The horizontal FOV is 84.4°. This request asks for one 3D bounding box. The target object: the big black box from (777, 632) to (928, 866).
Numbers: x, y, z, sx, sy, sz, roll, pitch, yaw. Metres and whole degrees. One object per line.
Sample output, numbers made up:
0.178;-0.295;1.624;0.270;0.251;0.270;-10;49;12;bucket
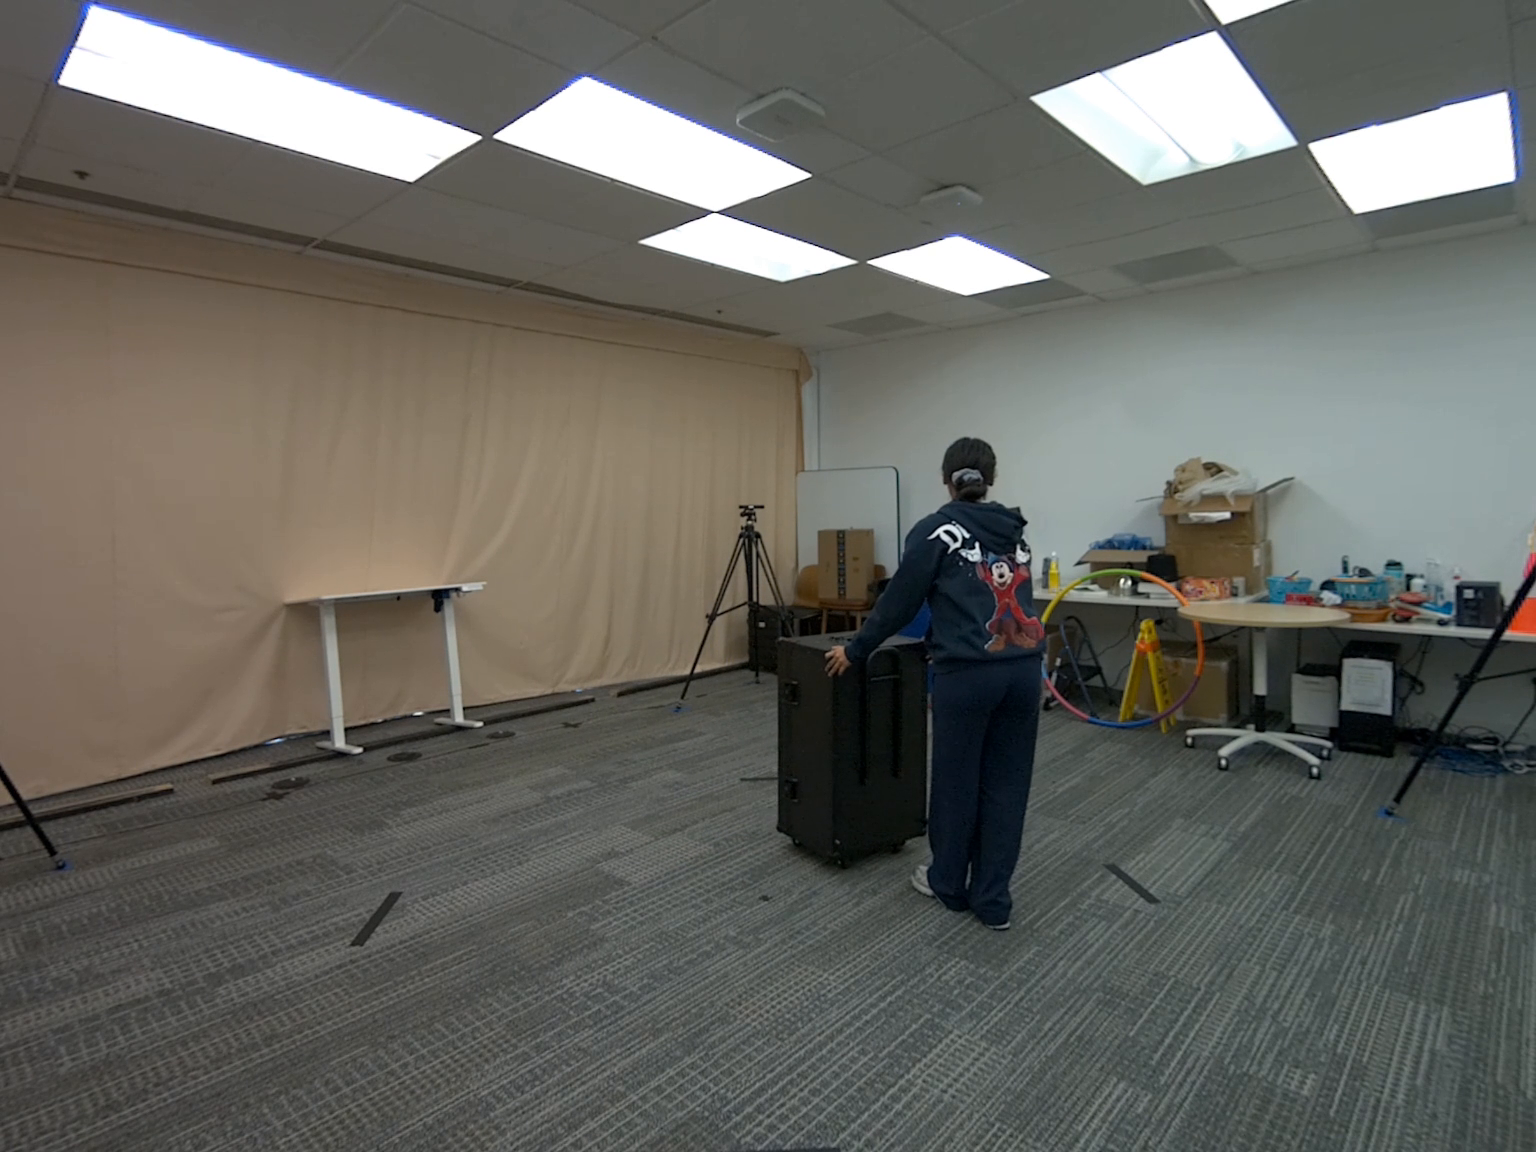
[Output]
0.349;0.679;3.358;0.506;0.859;0.408;-2;5;-33;big black box
